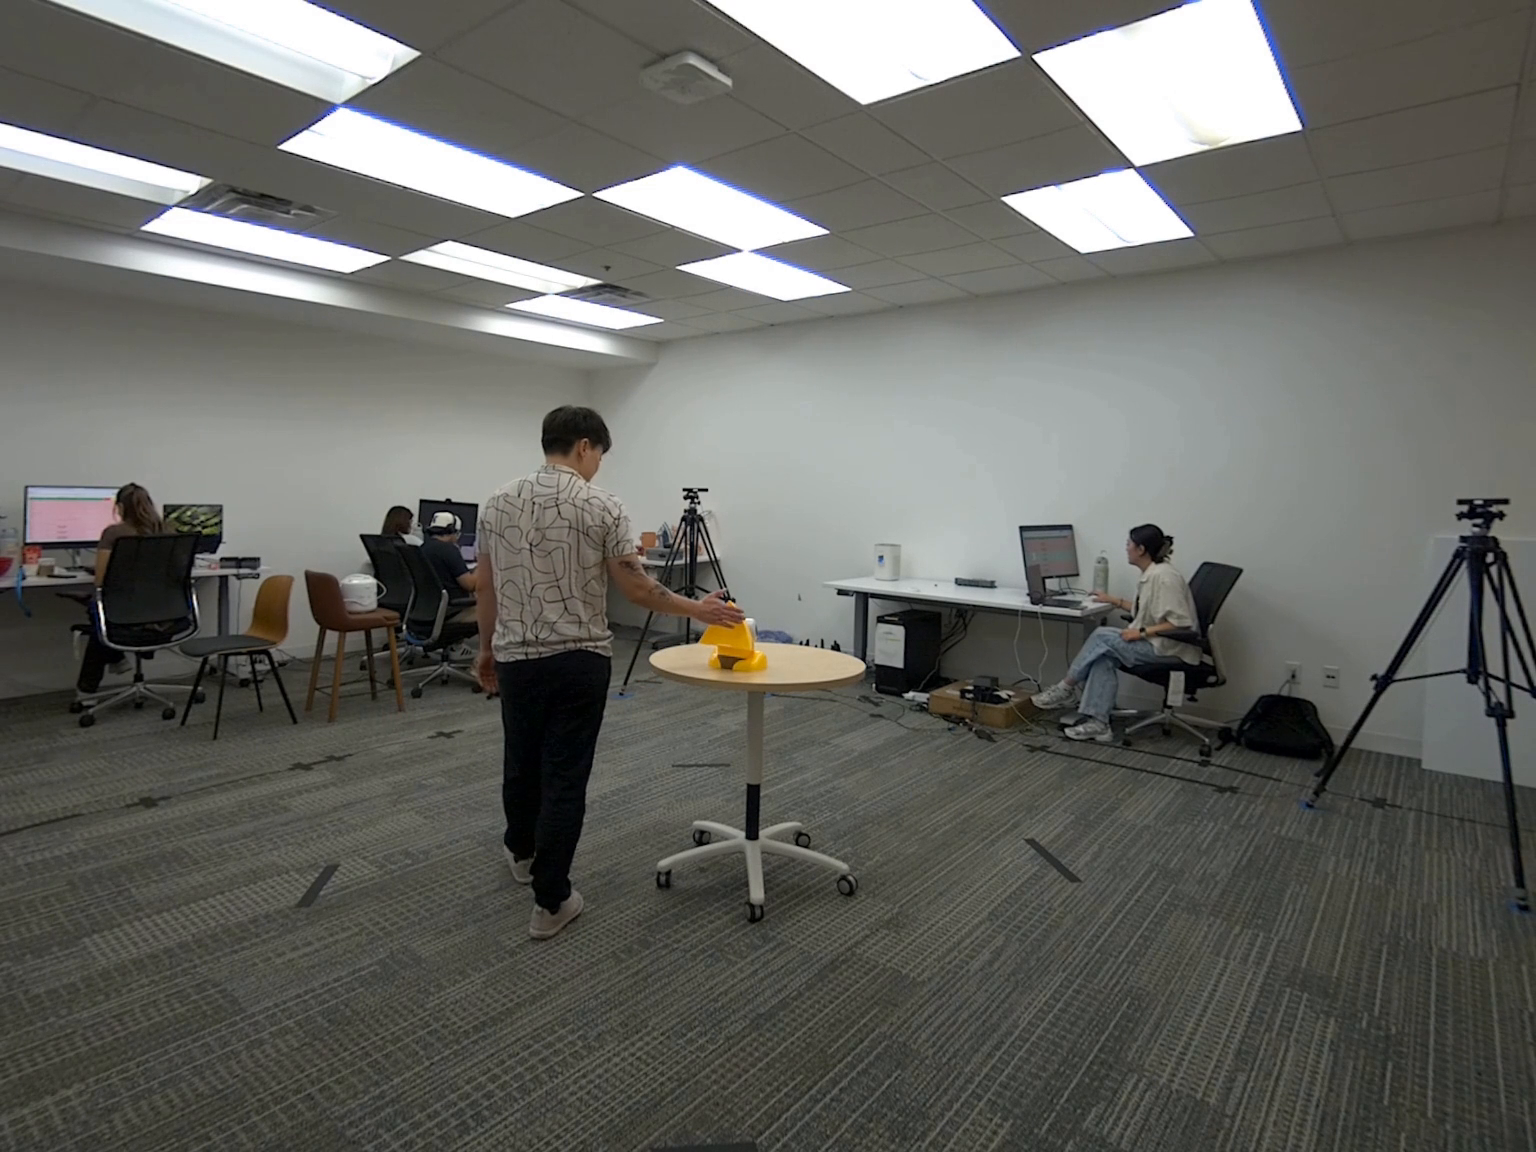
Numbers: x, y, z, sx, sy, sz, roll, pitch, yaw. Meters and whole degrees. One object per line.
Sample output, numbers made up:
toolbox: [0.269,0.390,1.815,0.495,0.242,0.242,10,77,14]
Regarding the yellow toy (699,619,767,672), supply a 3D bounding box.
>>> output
yellow toy: [-0.116,0.191,2.912,0.211,0.230,0.188,4,3,29]
